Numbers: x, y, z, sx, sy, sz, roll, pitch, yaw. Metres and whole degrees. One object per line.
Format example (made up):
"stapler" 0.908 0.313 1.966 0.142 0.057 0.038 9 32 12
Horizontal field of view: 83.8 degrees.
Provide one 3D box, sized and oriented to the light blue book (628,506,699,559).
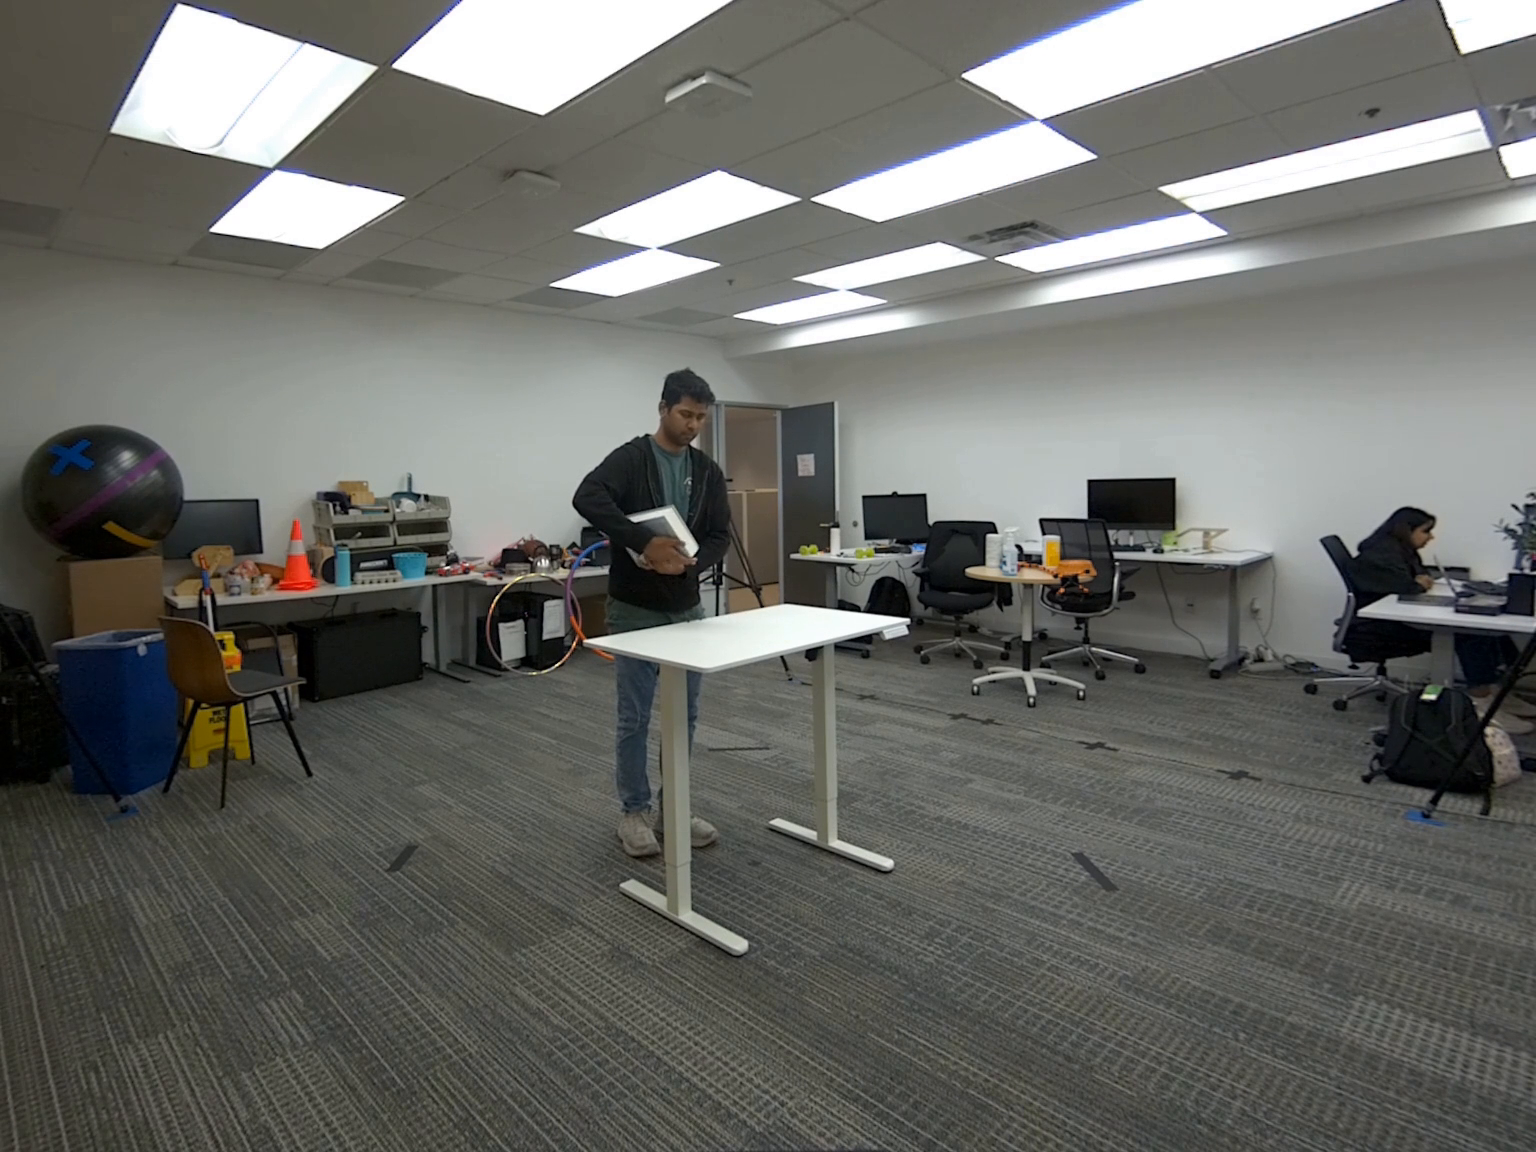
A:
"light blue book" -0.397 -0.134 3.019 0.267 0.186 0.059 -11 29 40
